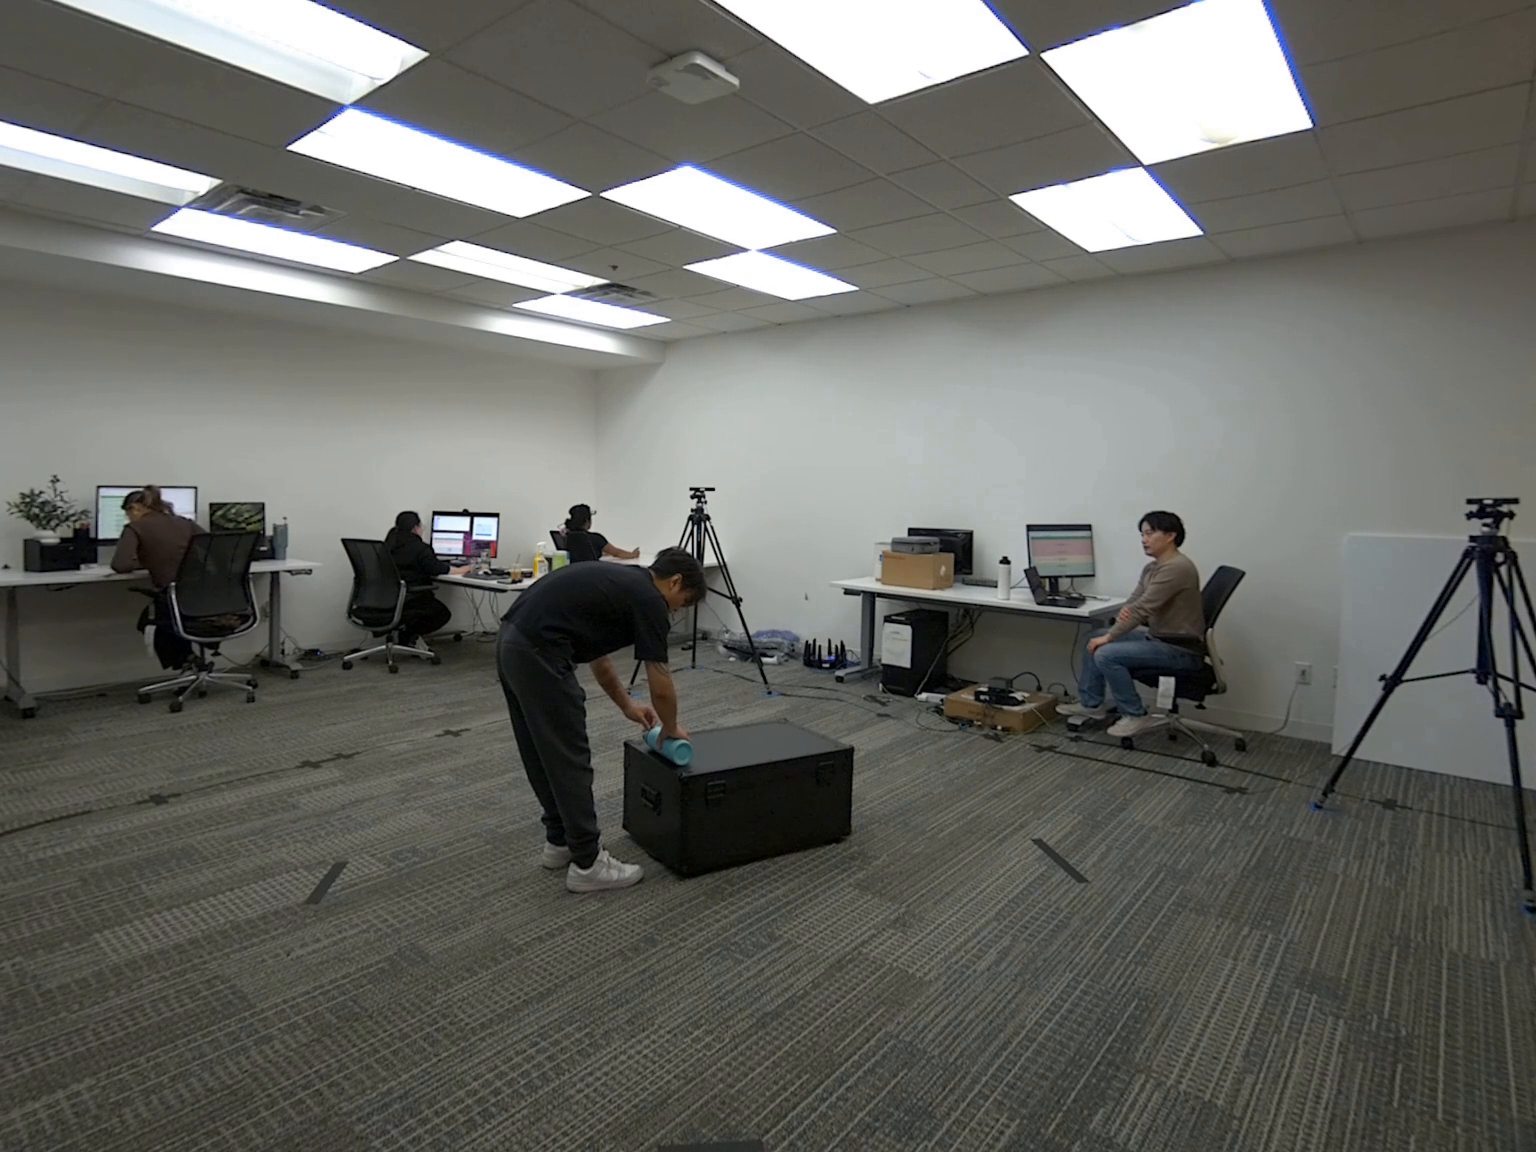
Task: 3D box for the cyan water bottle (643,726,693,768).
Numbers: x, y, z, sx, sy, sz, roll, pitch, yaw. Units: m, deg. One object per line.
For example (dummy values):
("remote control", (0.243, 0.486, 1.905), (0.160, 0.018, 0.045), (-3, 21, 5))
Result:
("cyan water bottle", (-0.400, 0.629, 3.215), (0.090, 0.092, 0.292), (-2, 6, -31))
